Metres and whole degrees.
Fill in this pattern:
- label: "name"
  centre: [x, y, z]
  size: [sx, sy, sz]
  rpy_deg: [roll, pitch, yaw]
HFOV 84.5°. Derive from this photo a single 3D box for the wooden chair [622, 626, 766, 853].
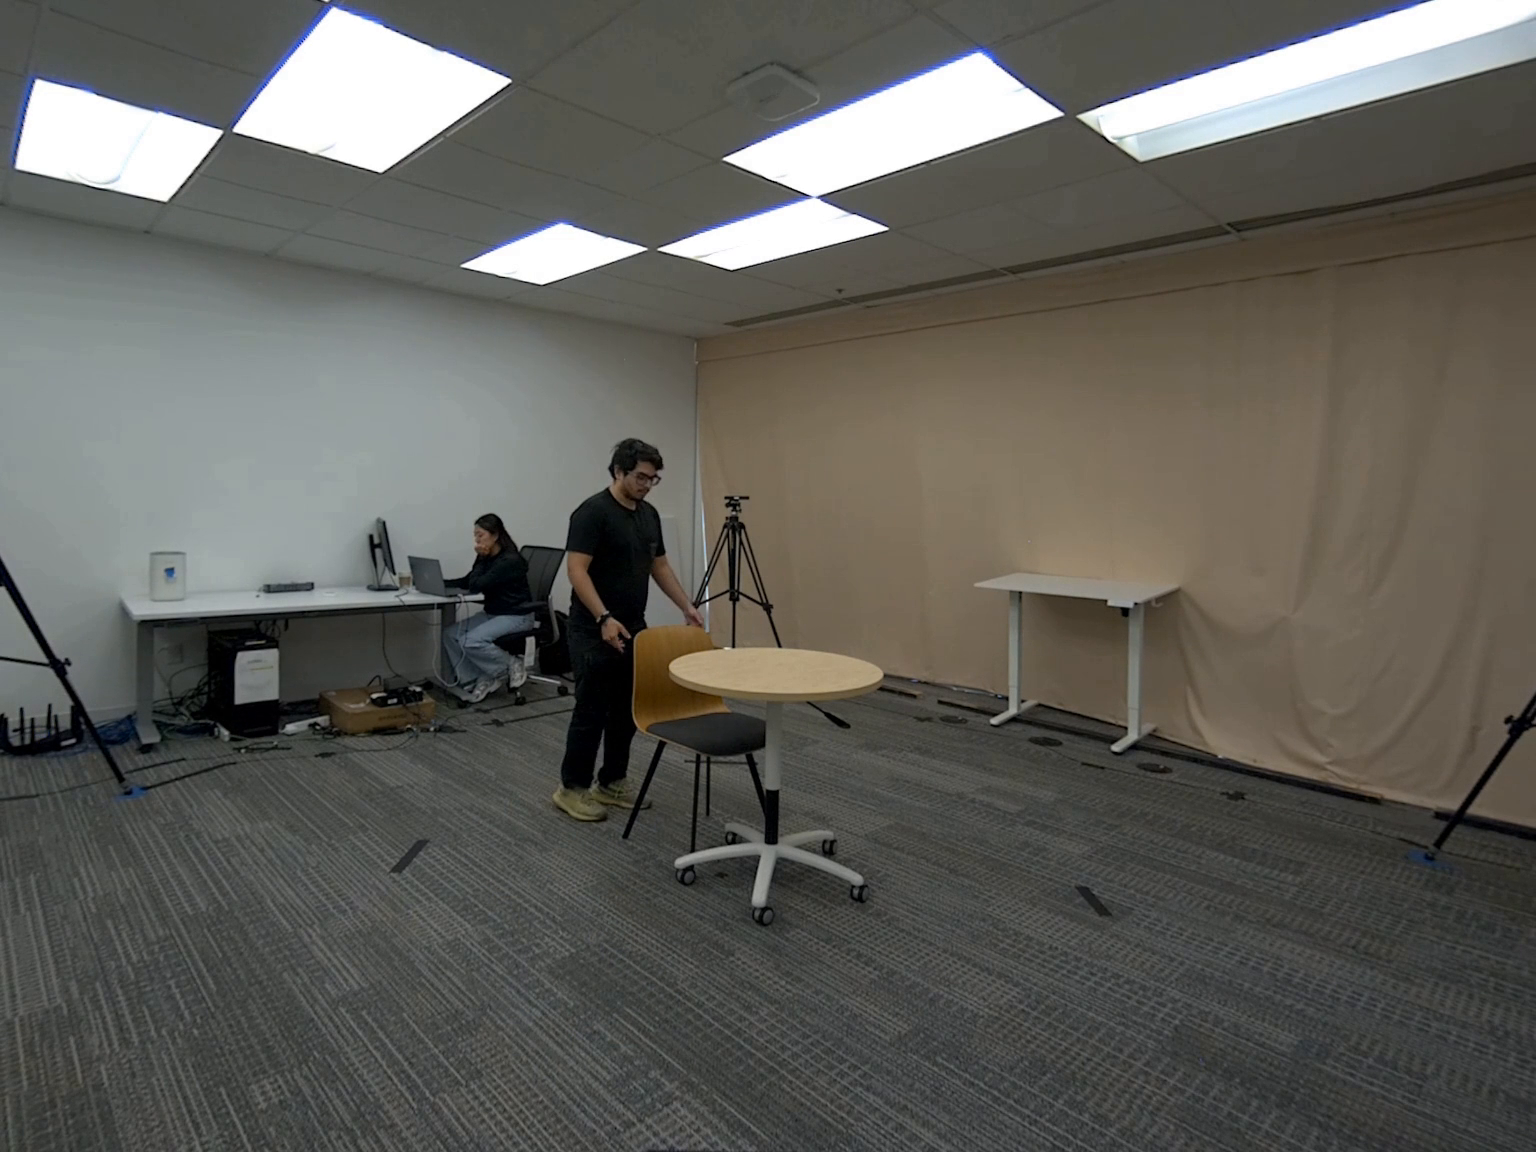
- label: "wooden chair"
  centre: [-0.260, 0.650, 3.346]
  size: [0.467, 0.878, 0.535]
  rpy_deg: [0, -1, -41]
